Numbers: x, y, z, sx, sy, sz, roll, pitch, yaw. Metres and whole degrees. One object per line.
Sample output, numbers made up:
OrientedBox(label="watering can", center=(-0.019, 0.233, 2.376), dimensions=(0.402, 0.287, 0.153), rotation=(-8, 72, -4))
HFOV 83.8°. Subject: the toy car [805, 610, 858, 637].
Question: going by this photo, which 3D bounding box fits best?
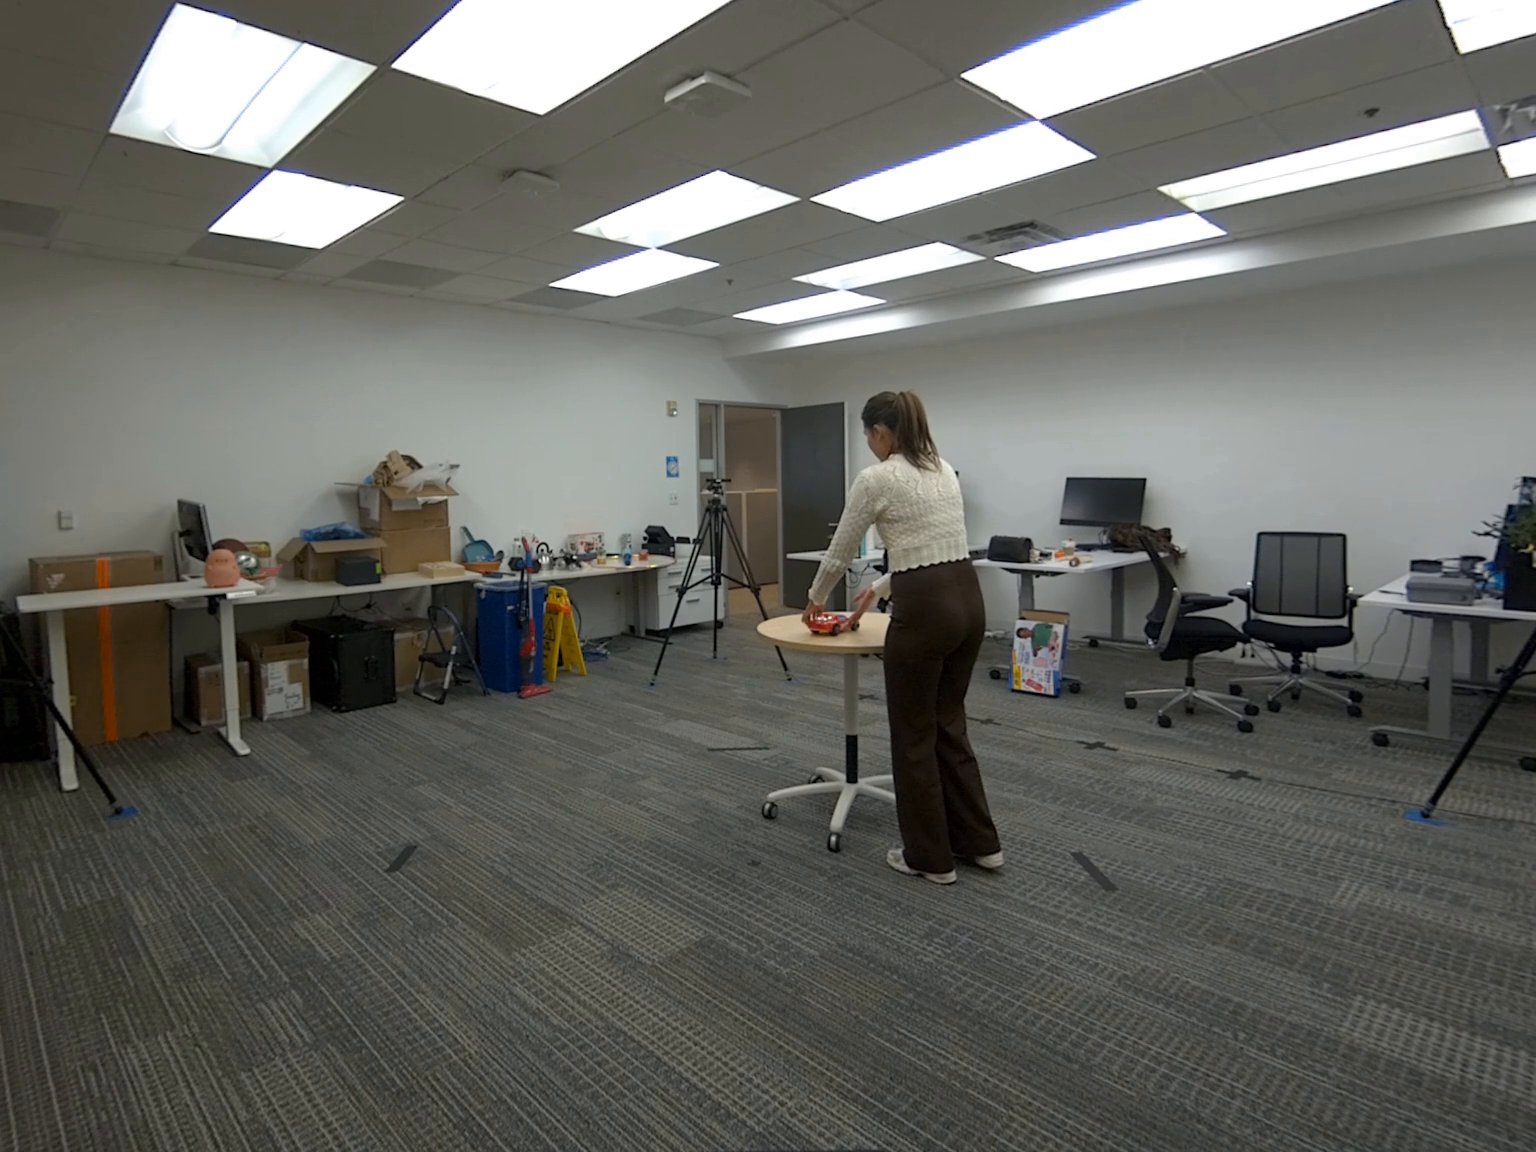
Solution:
OrientedBox(label="toy car", center=(0.254, 0.192, 3.384), dimensions=(0.134, 0.083, 0.246), rotation=(3, -4, 38))
